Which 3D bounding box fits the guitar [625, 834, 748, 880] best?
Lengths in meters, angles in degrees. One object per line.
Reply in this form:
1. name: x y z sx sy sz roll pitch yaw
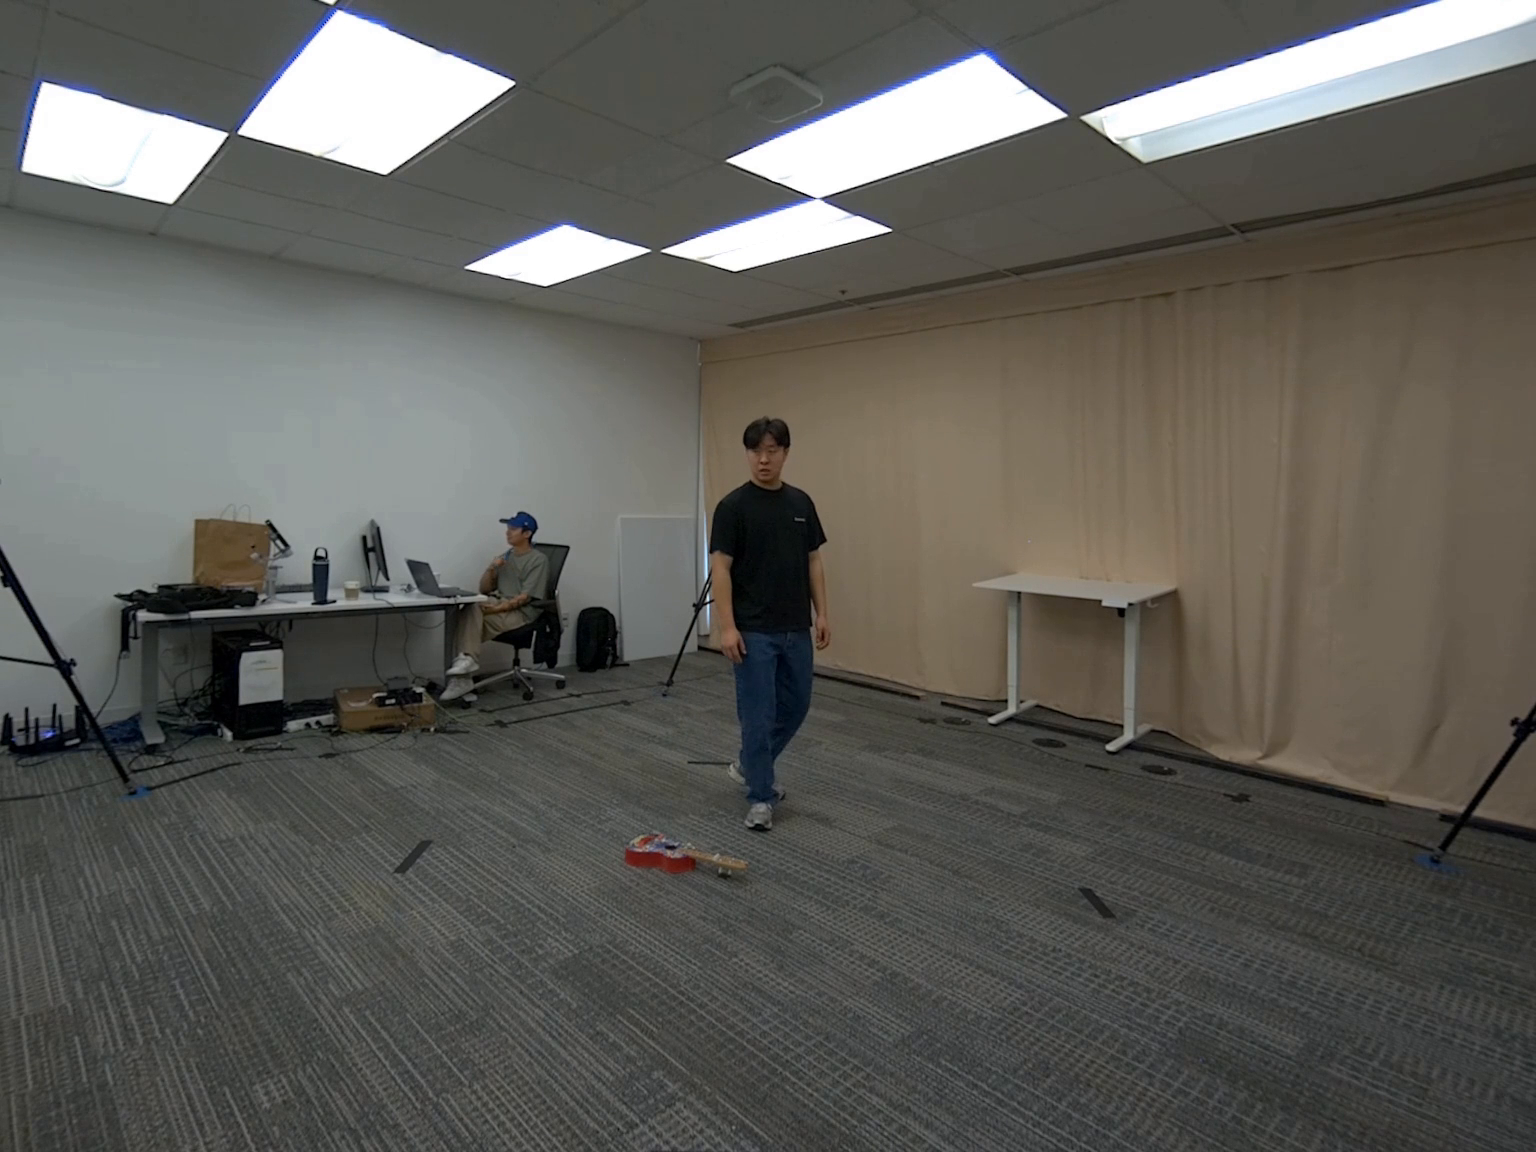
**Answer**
1. guitar: -0.326 1.068 3.147 0.510 0.070 0.189 5 6 36
